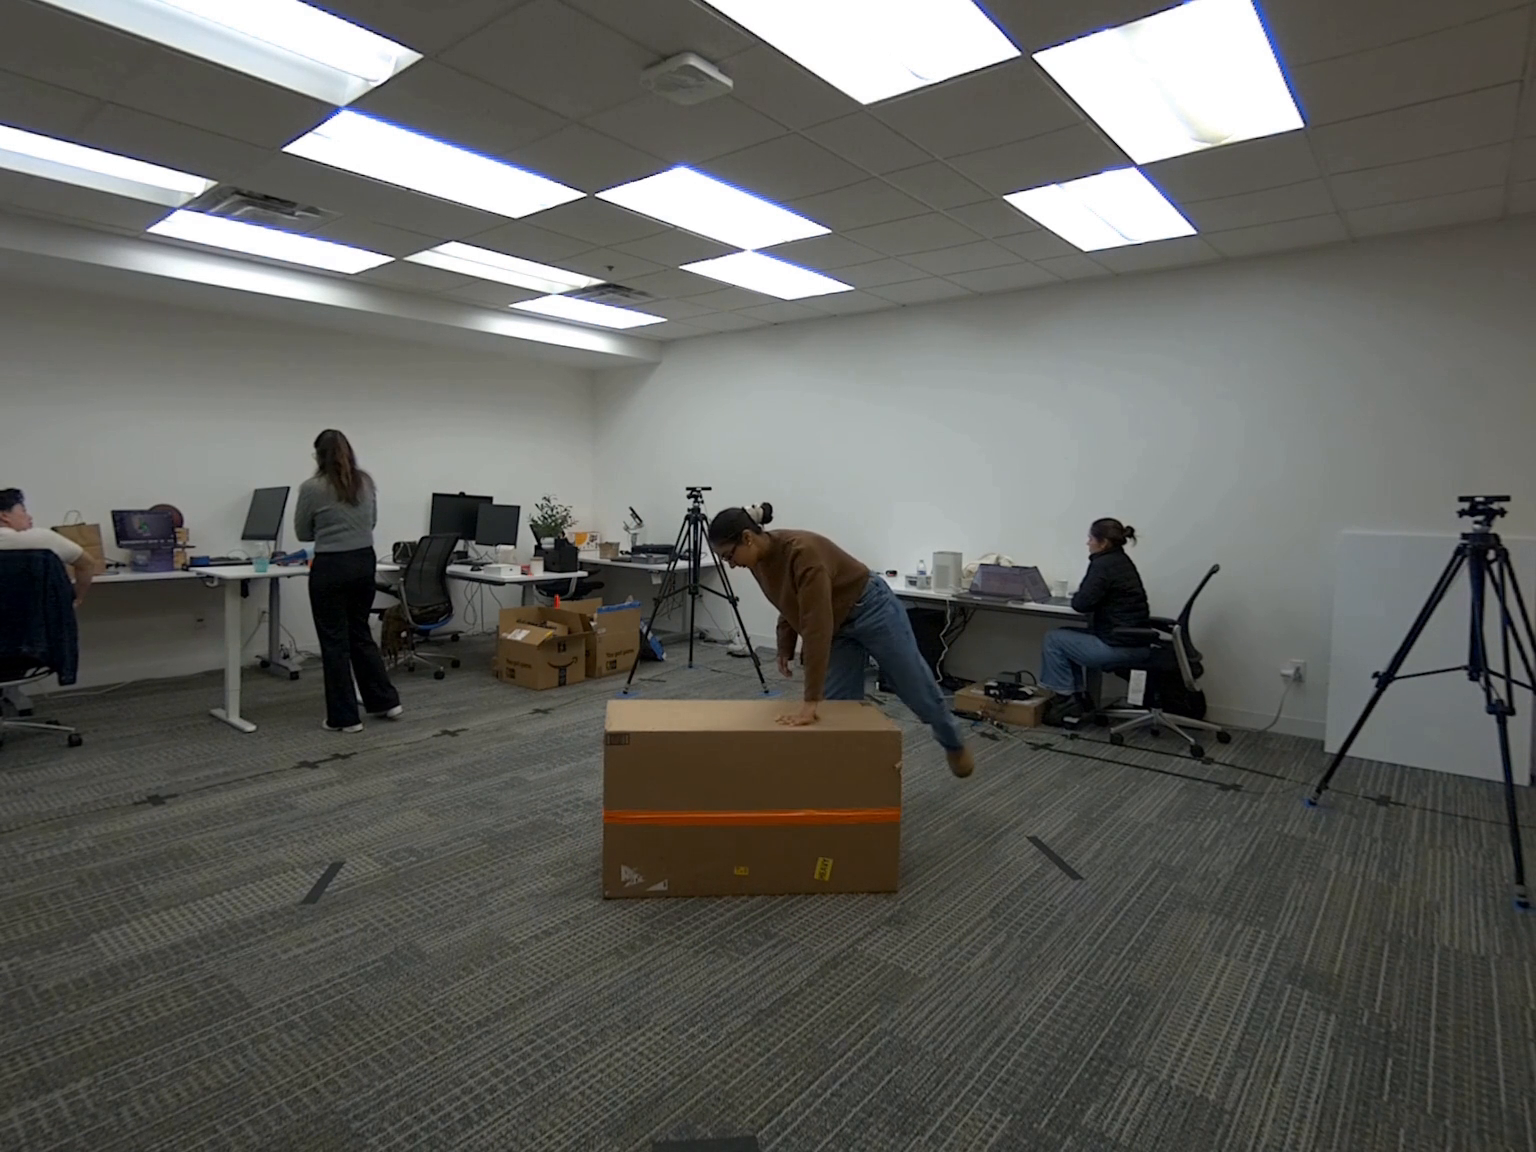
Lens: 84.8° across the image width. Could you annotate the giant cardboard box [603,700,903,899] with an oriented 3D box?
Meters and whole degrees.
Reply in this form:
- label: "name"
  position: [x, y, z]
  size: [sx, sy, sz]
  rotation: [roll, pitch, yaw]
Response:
- label: "giant cardboard box"
  position: [-0.088, 0.784, 3.091]
  size: [1.021, 0.583, 0.450]
  rotation: [1, 3, -6]
